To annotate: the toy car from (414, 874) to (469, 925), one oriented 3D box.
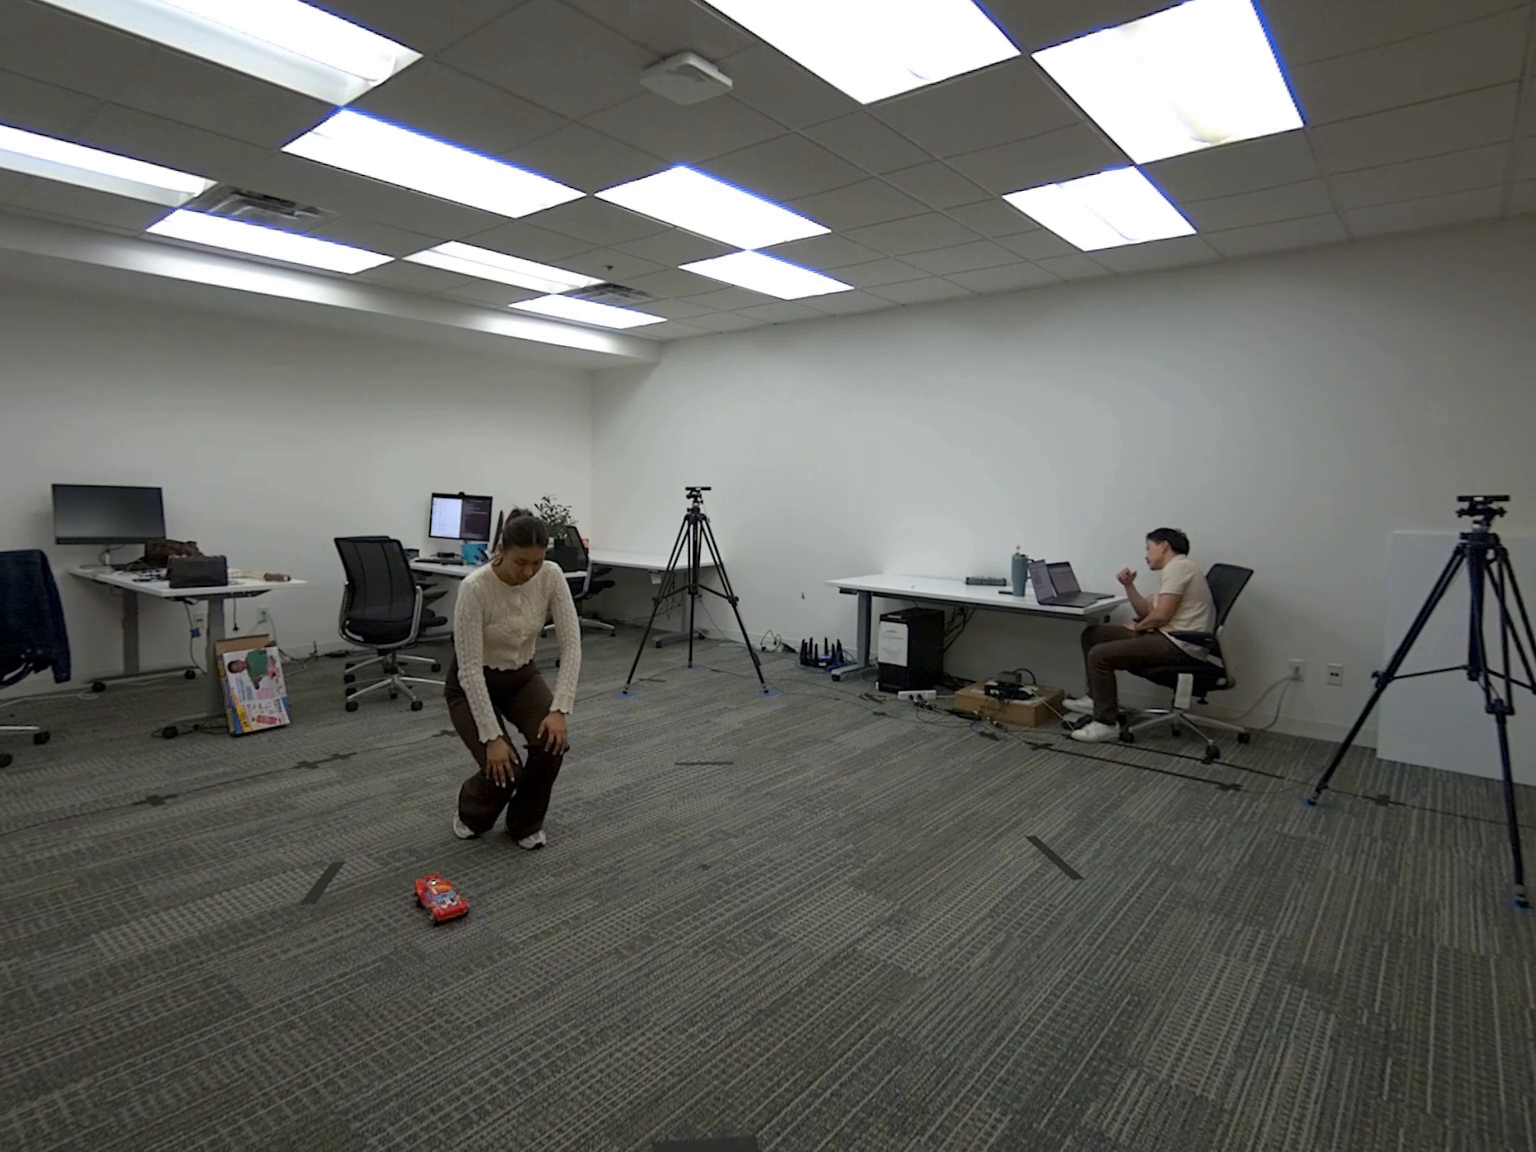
[{"bbox_3d":[-1.094,1.056,2.783,0.126,0.082,0.265,-5,18,-38],"label":"toy car"}]
